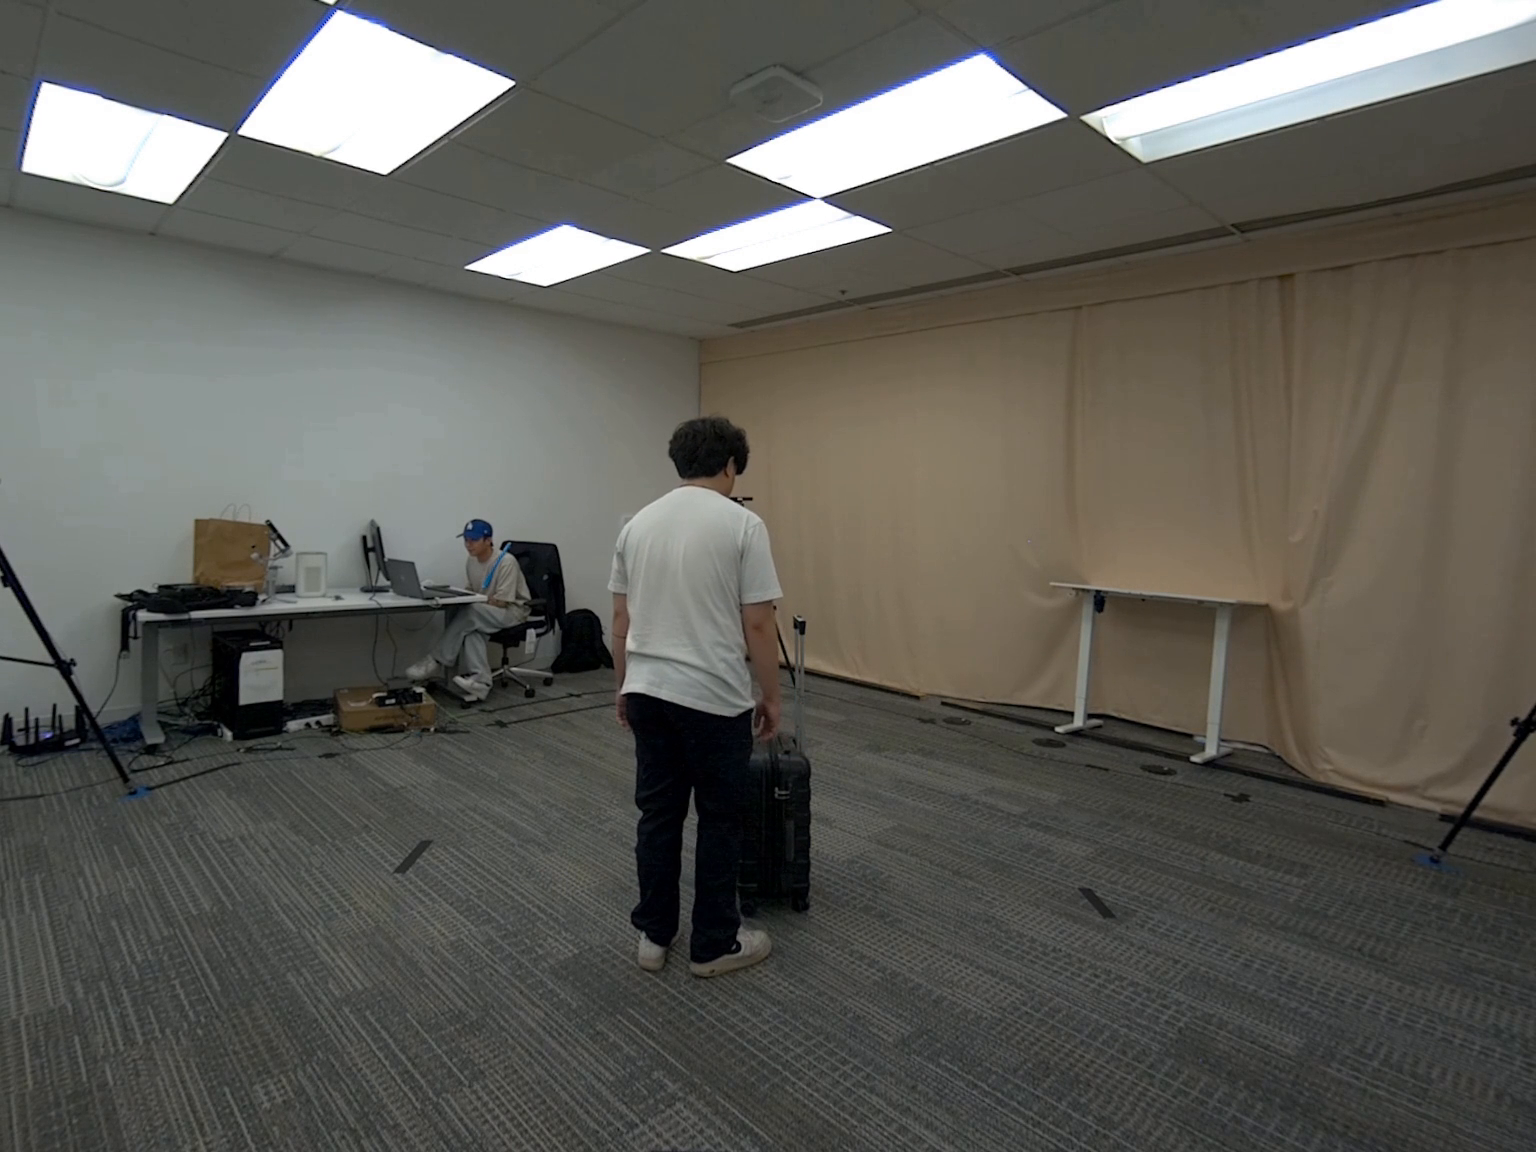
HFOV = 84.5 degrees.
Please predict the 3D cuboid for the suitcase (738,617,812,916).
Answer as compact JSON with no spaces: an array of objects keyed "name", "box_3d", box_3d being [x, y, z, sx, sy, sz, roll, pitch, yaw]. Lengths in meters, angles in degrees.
[{"name":"suitcase","box_3d":[0.008,0.649,2.947,0.256,0.976,0.386,-1,3,-4]}]
